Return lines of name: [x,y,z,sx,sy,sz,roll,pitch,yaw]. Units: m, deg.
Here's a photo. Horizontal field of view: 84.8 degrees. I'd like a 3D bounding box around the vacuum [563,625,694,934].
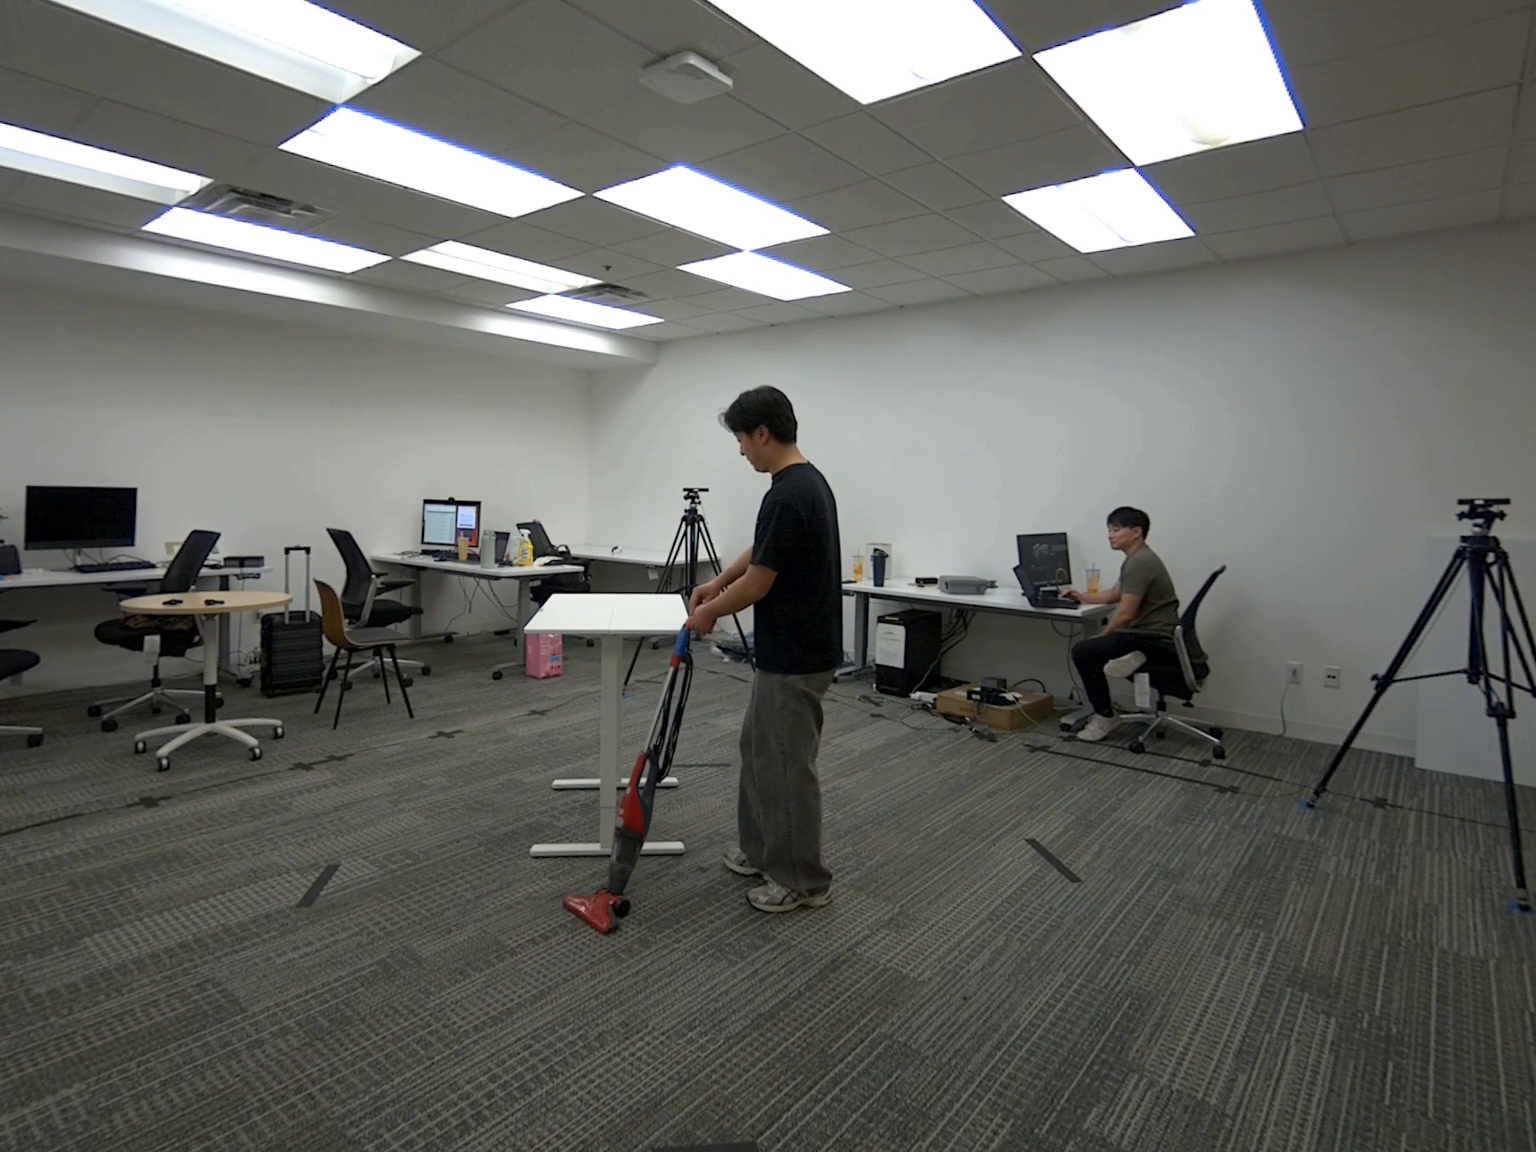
vacuum: [-0.393,0.607,2.881,0.261,1.057,0.138,4,-20,47]
